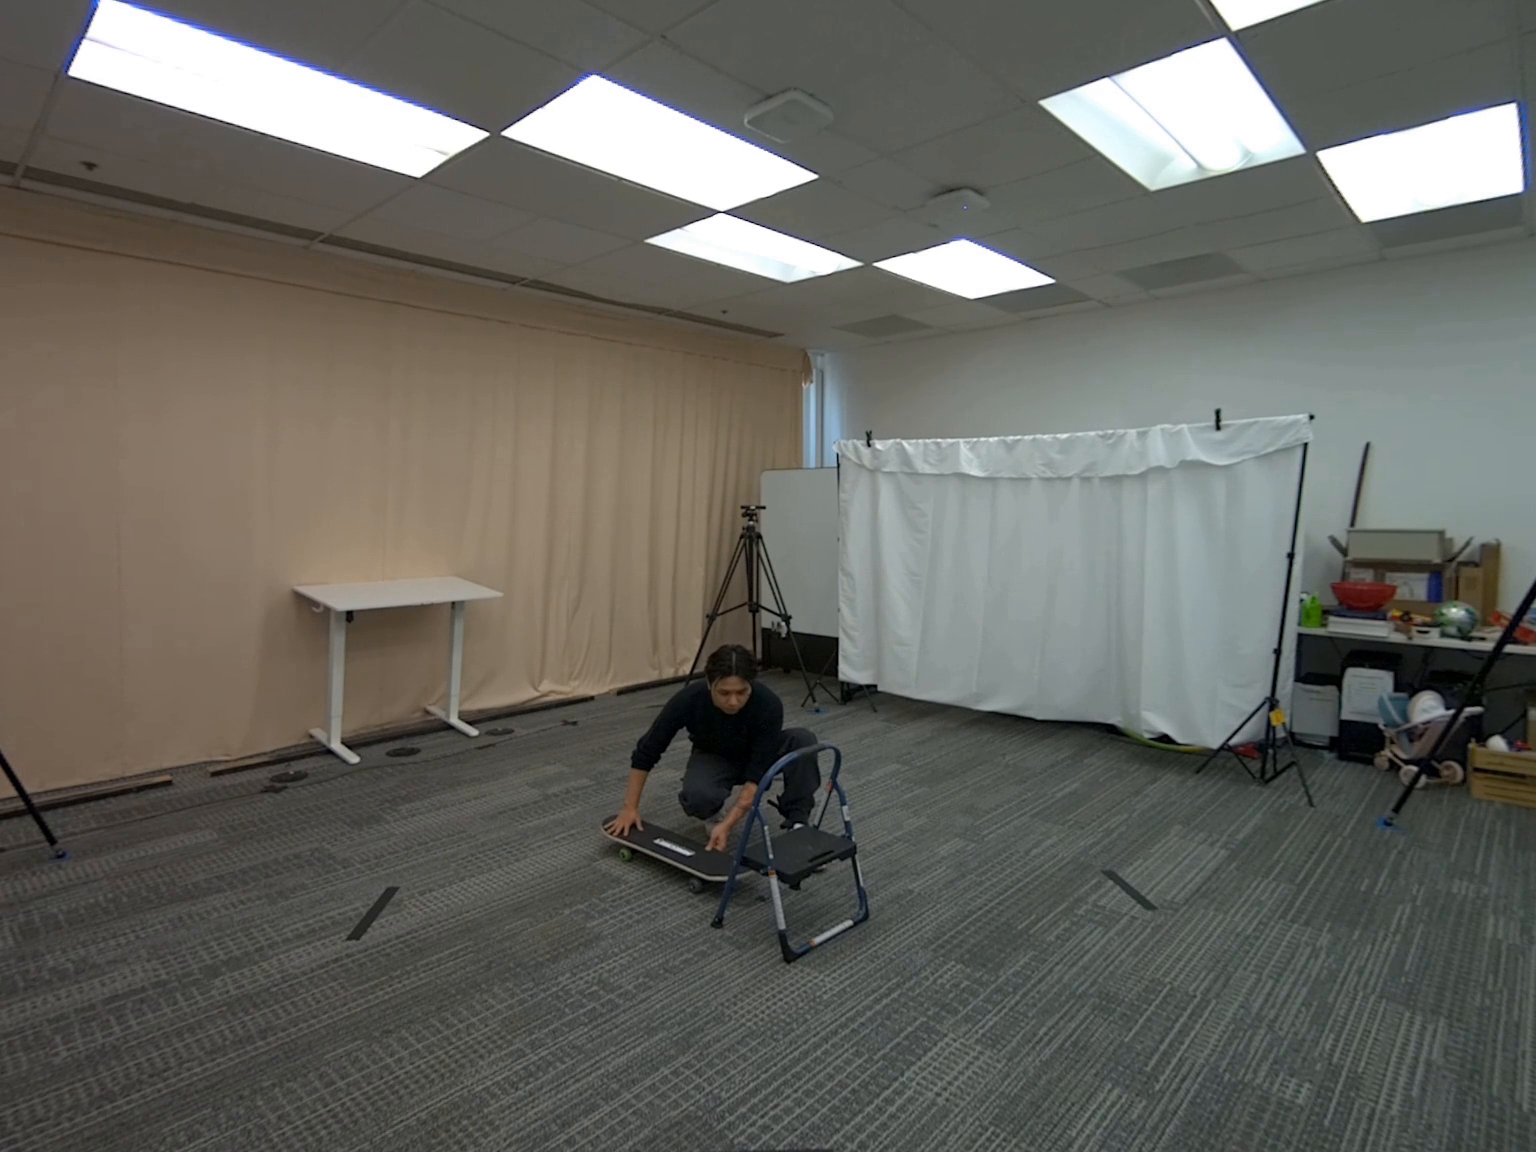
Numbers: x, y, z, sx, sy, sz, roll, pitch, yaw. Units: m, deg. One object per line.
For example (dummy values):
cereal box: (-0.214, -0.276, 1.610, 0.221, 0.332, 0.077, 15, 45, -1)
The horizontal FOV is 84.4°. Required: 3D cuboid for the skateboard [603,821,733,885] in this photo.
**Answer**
skateboard: (-0.354, 1.065, 3.230, 0.812, 0.110, 0.187, 3, 6, 43)
